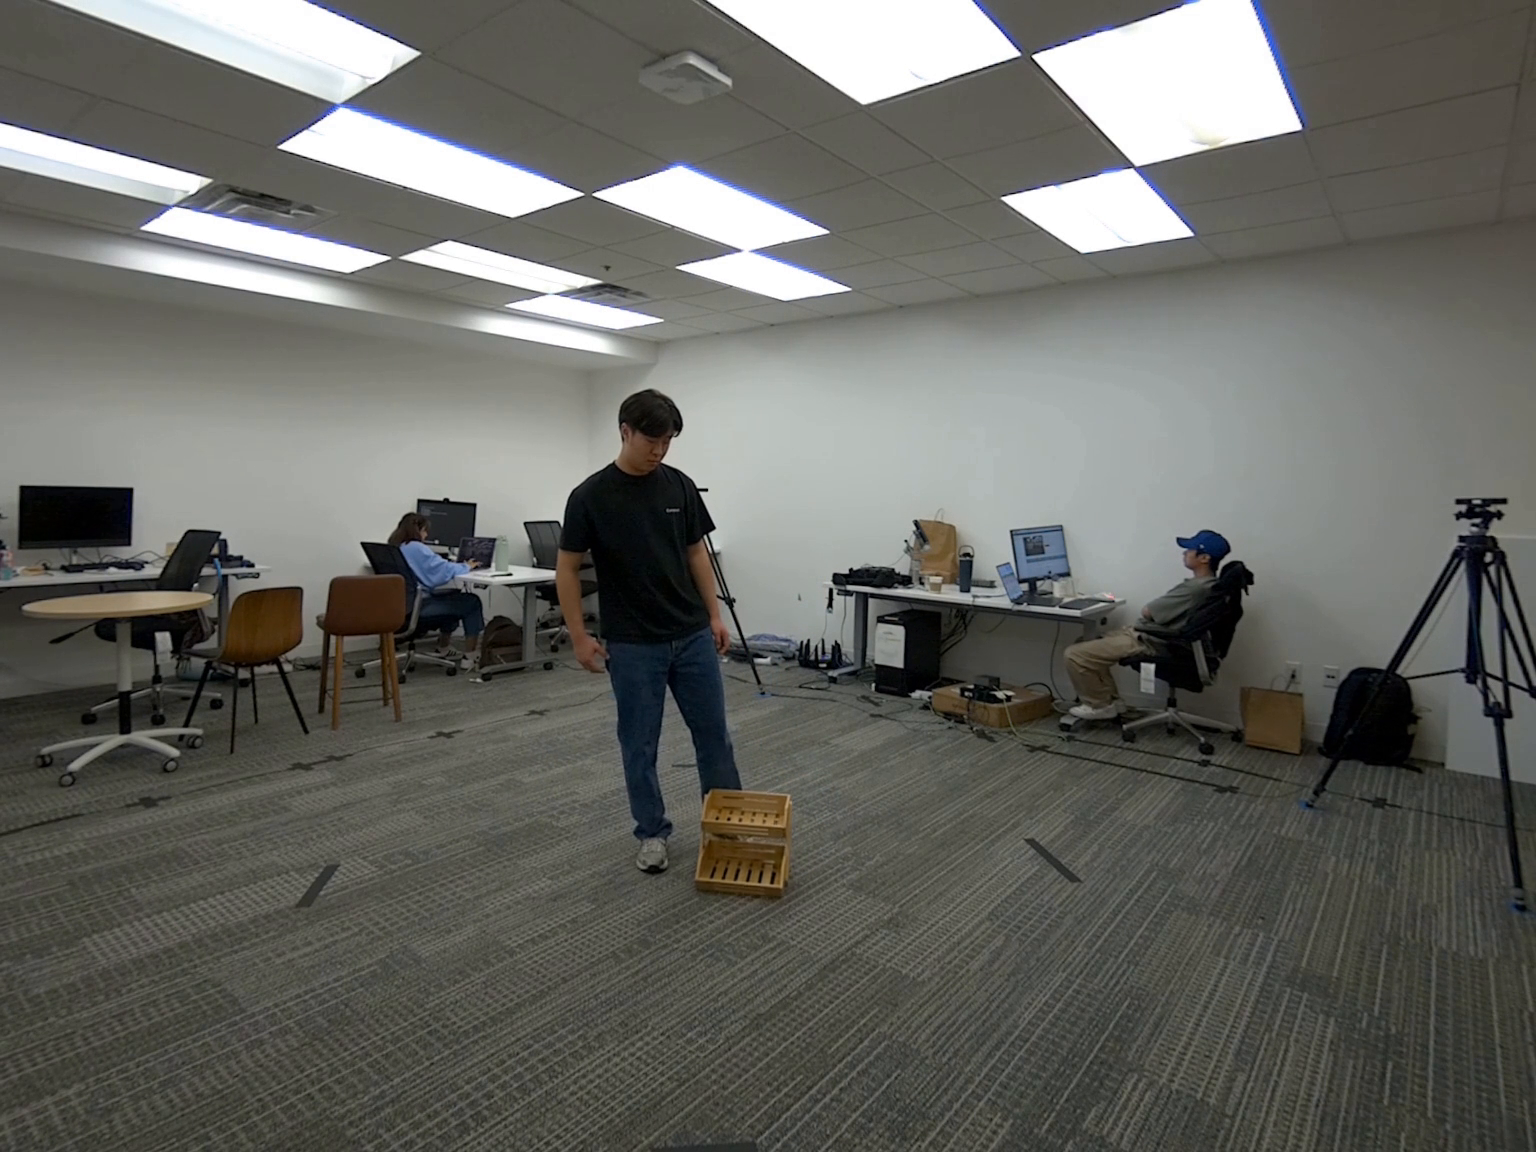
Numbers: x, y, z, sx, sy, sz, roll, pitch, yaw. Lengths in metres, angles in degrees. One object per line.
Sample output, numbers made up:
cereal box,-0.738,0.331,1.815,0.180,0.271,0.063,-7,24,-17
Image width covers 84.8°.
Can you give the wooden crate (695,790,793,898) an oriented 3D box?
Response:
wooden crate,-0.082,0.951,3.031,0.327,0.272,0.301,2,4,5
